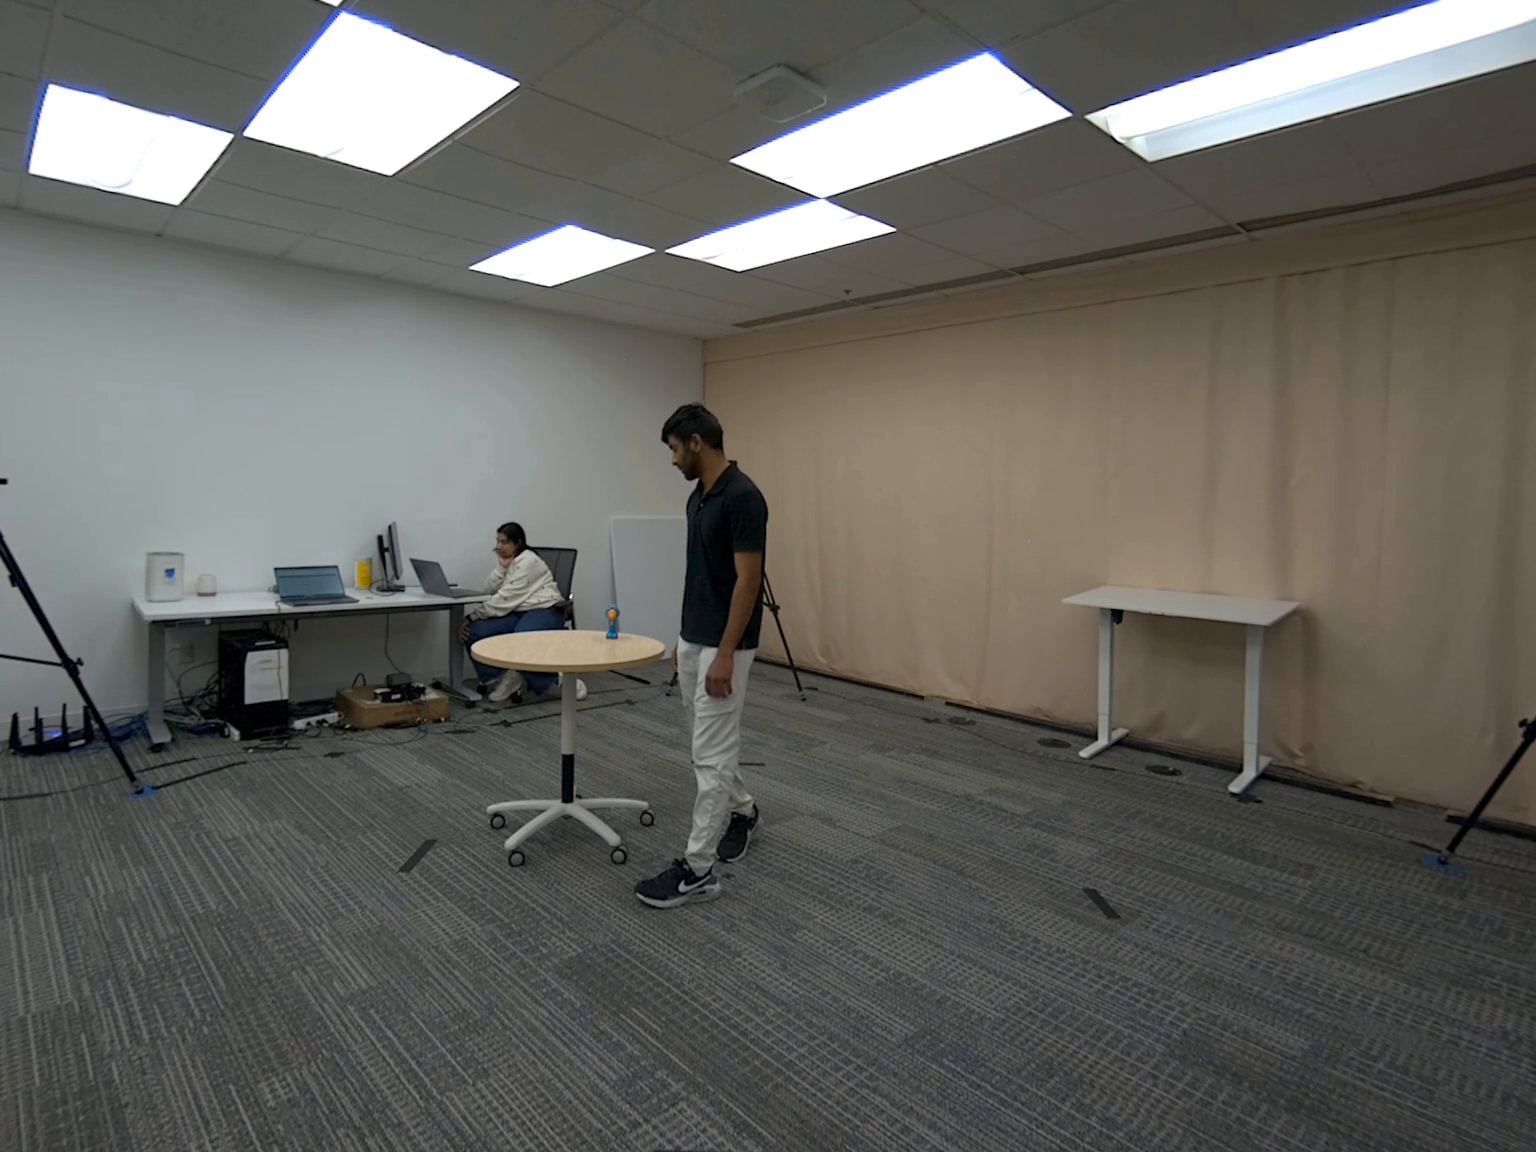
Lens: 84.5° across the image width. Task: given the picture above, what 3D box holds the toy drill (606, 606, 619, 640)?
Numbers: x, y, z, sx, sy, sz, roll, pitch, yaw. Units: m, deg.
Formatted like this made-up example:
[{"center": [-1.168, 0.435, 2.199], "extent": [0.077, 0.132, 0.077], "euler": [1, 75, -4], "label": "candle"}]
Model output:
[{"center": [-0.671, 0.196, 3.568], "extent": [0.061, 0.145, 0.171], "euler": [3, 4, -8], "label": "toy drill"}]
